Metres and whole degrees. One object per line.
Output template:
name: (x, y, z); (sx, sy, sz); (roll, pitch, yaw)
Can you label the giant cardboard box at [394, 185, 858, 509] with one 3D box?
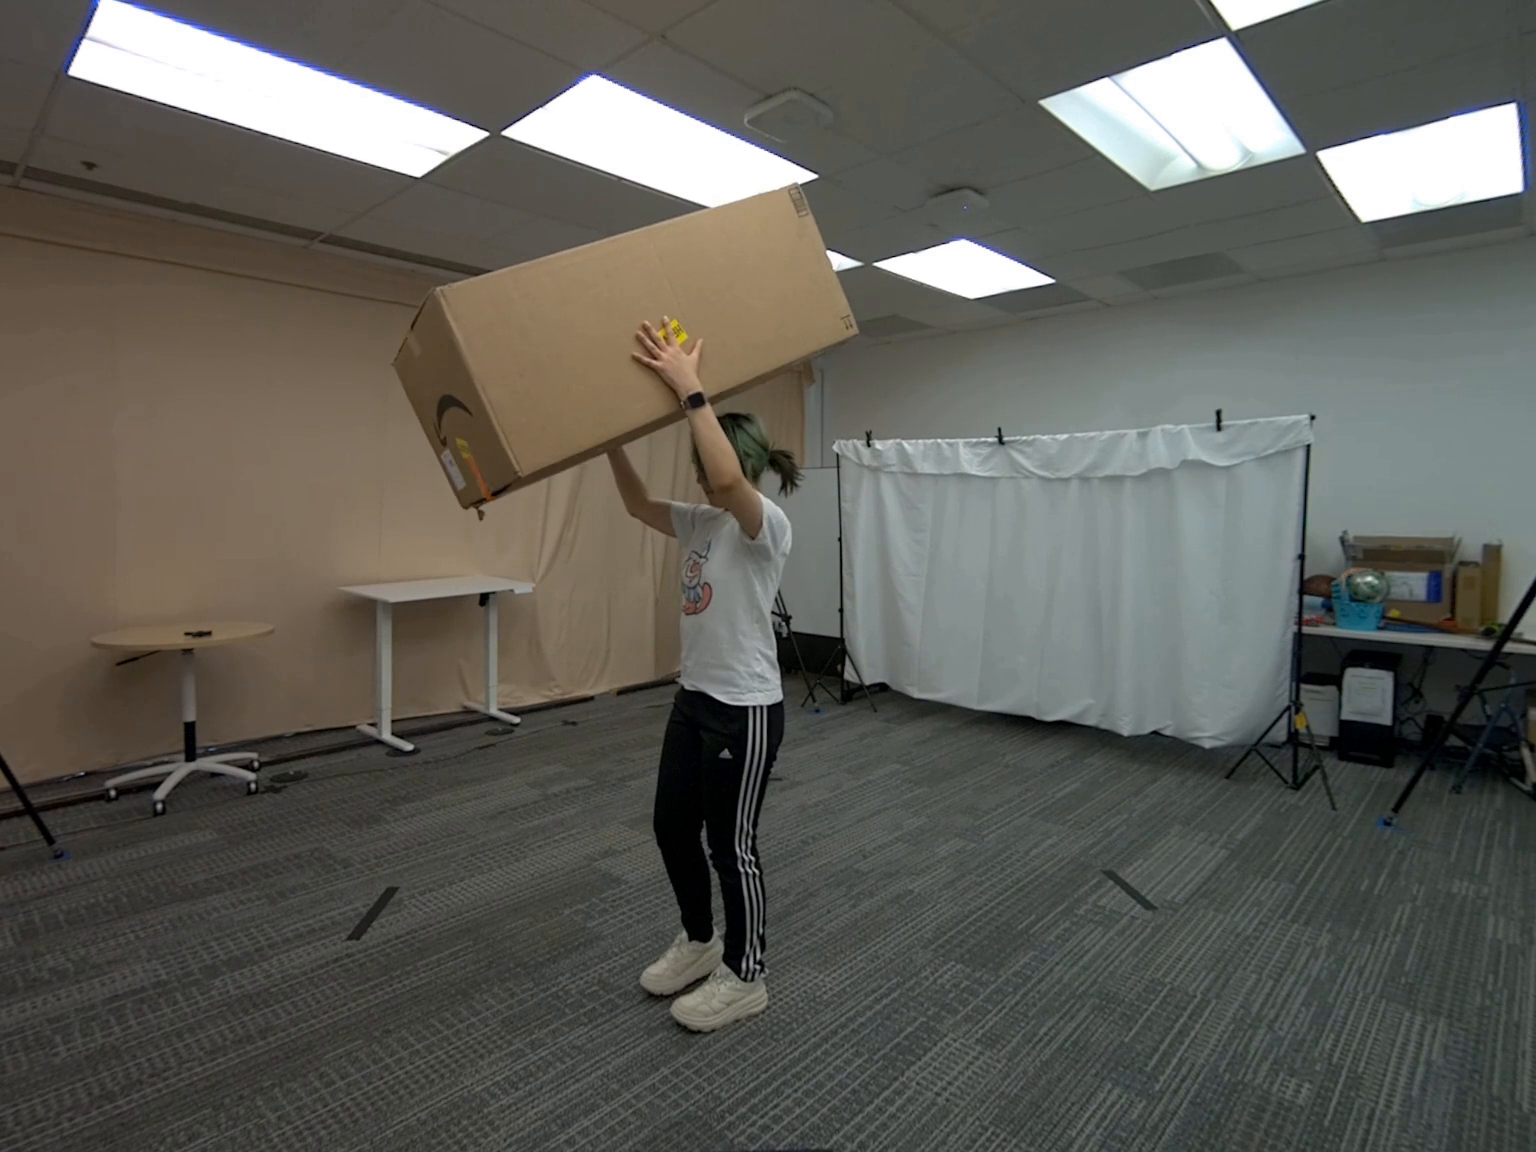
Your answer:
giant cardboard box: (-0.370, -0.592, 2.219); (1.011, 0.442, 0.599); (-30, 13, -28)
